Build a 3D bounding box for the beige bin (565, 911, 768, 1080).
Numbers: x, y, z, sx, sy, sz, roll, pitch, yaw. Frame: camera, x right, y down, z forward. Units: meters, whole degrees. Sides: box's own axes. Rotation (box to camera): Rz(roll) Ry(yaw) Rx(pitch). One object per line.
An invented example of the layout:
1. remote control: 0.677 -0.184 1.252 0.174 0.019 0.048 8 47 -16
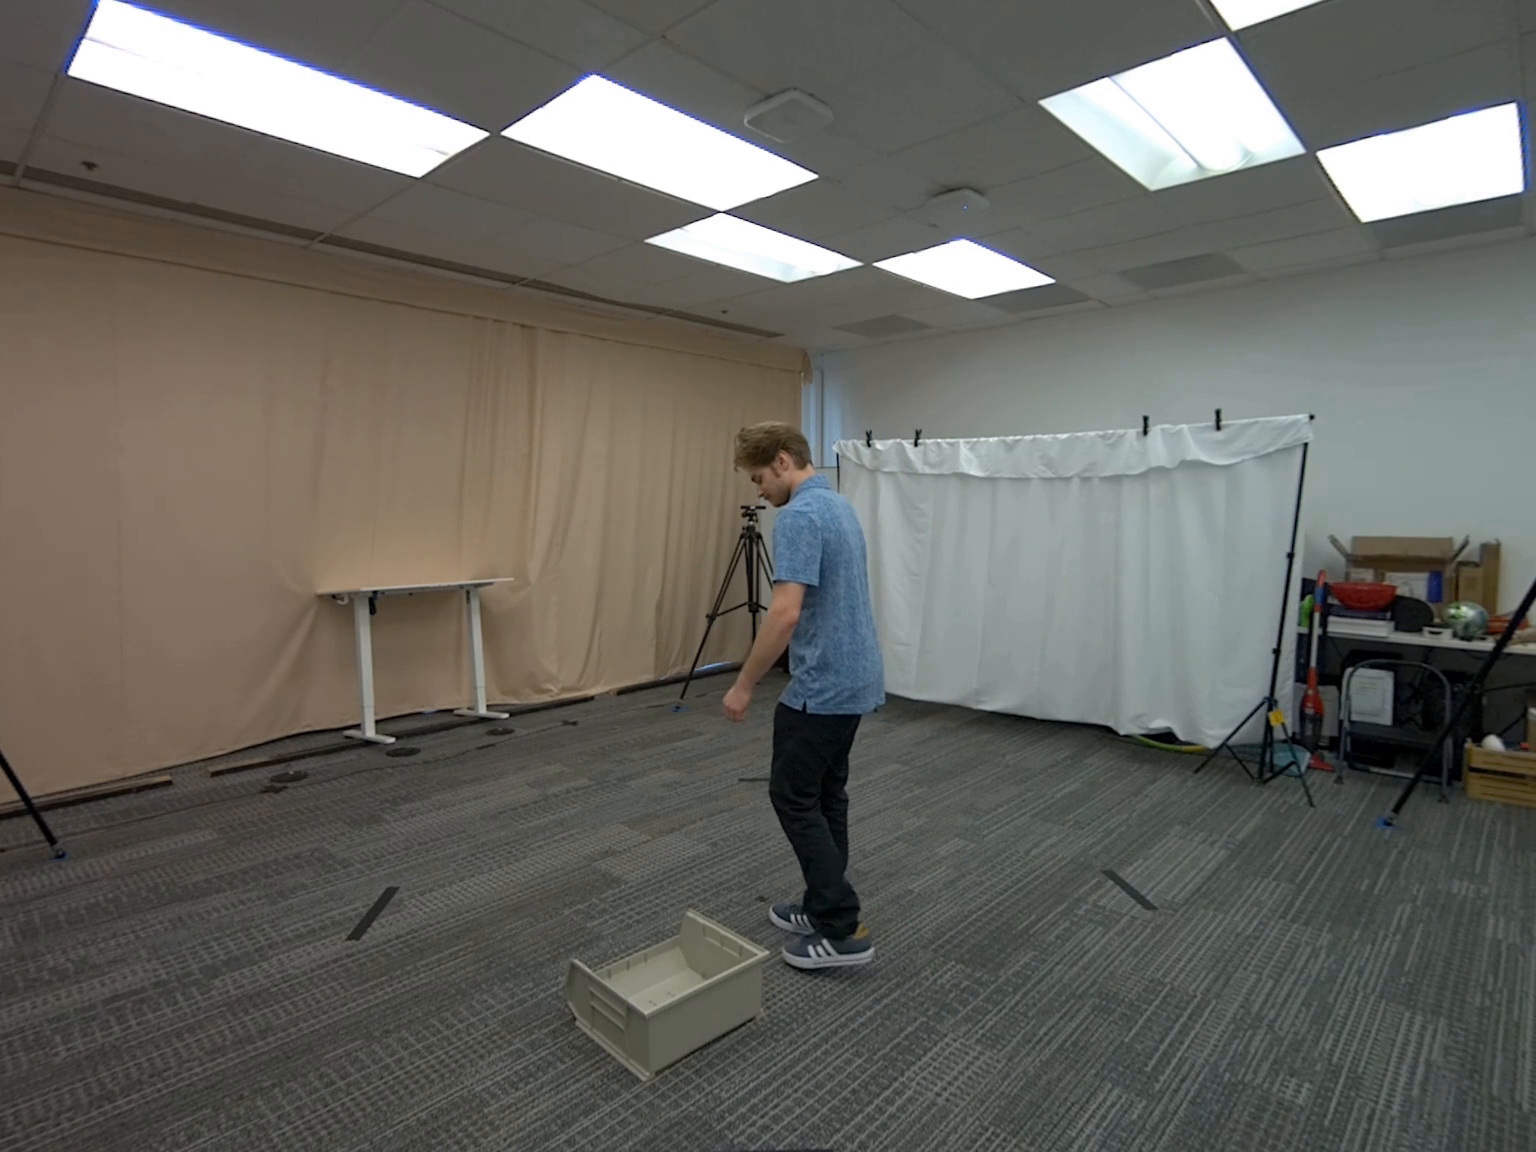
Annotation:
1. beige bin: -0.277 1.117 2.291 0.409 0.188 0.390 -3 6 -43
